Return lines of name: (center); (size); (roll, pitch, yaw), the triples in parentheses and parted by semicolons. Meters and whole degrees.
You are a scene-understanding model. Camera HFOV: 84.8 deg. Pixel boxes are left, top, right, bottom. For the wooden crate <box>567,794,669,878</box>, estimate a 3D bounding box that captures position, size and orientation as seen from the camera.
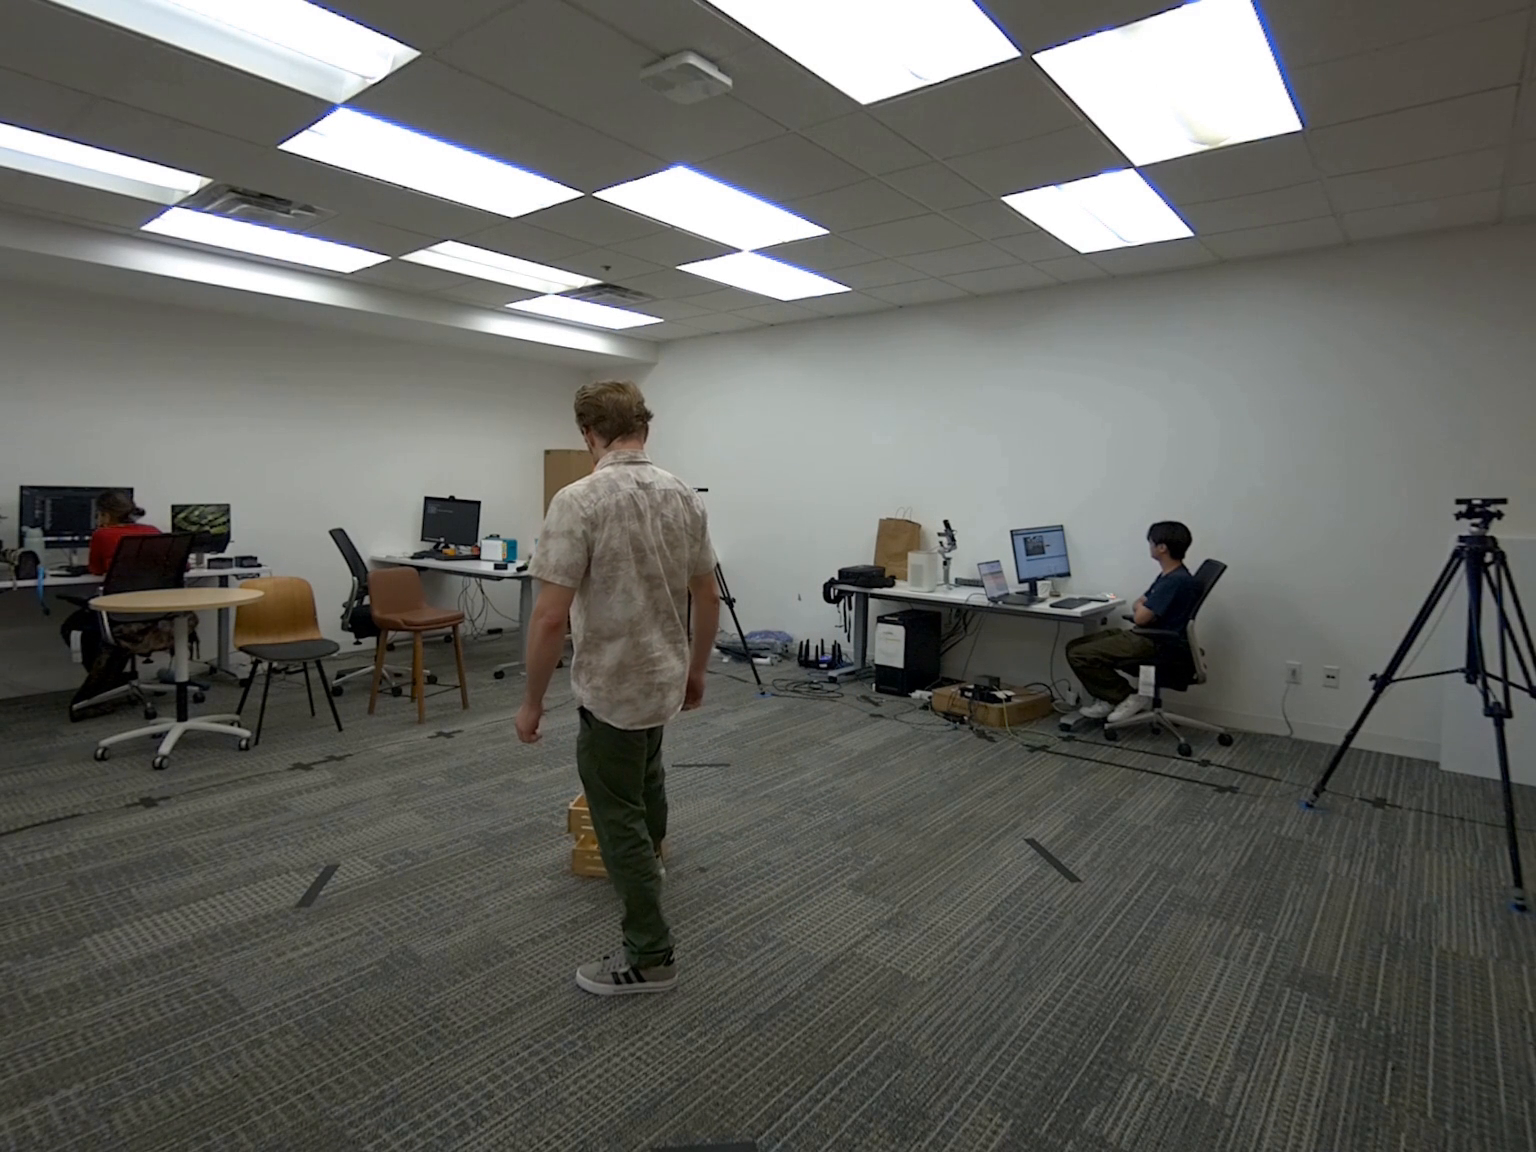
wooden crate: (-0.556, 0.927, 3.116); (0.327, 0.272, 0.301); (2, 4, 7)
